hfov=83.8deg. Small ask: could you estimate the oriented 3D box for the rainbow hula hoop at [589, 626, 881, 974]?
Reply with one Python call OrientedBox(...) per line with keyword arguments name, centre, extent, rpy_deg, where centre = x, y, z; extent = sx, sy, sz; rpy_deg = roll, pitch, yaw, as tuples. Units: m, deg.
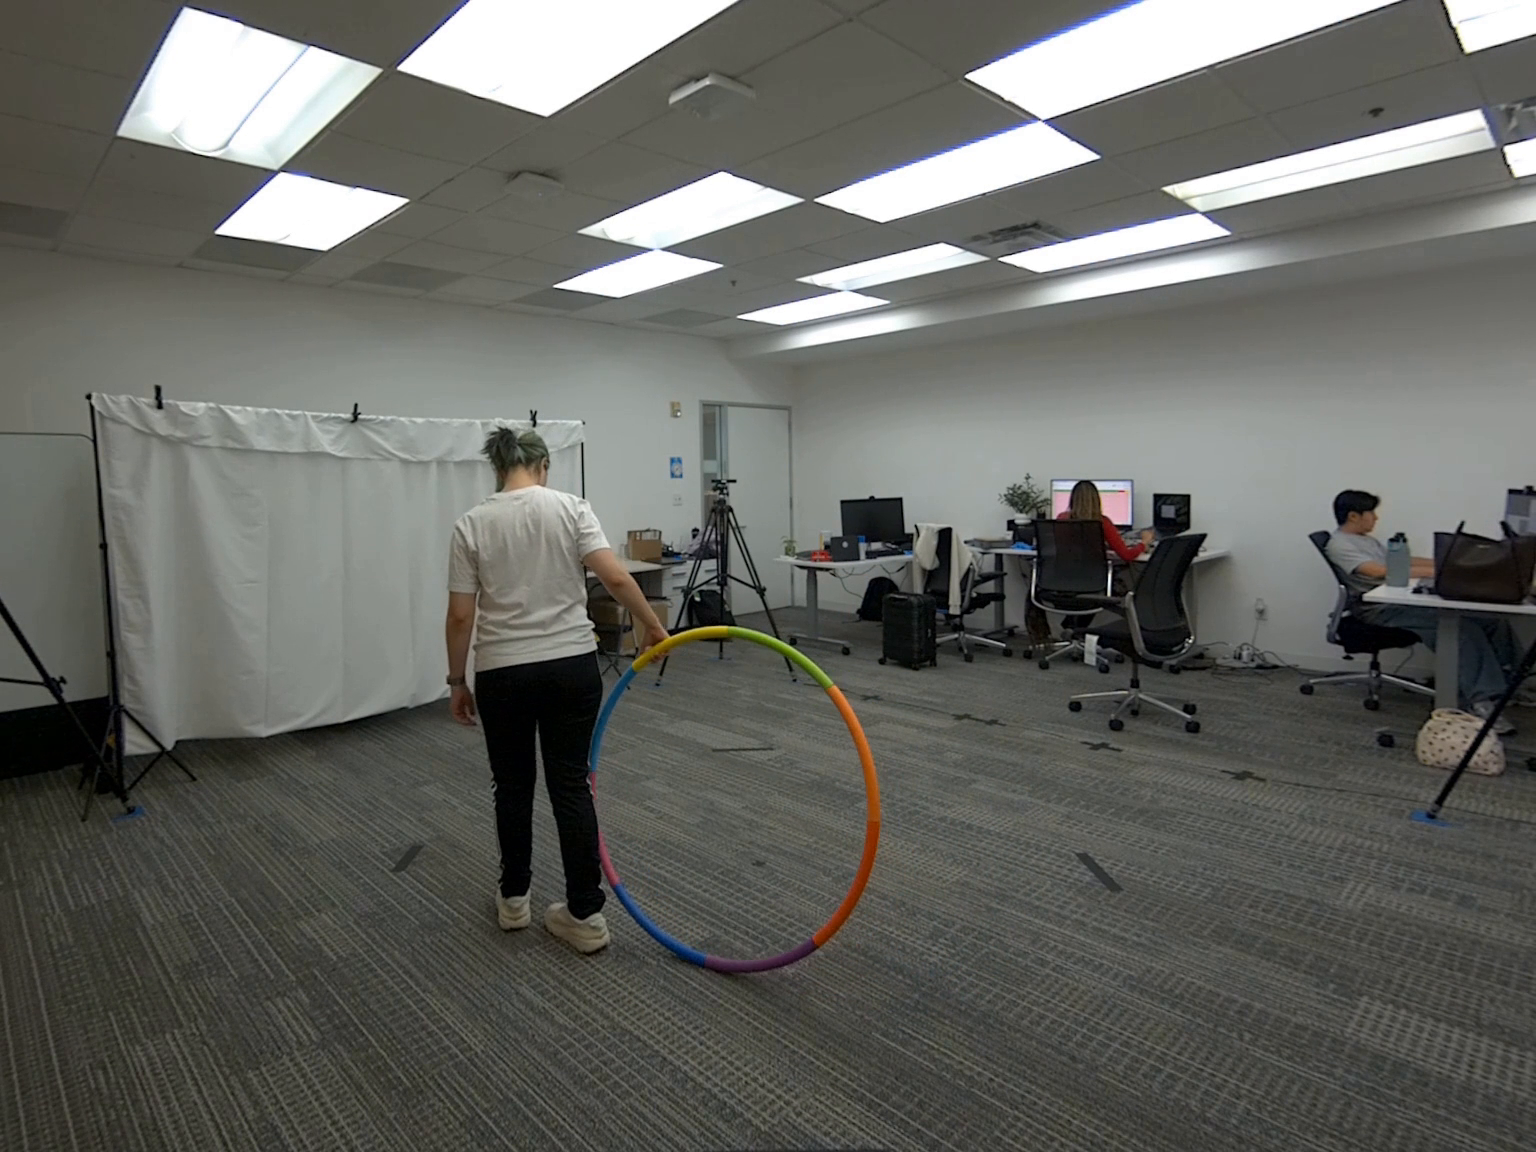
OrientedBox(name="rainbow hula hoop", centre=(-0.143, 0.640, 2.527), extent=(1.004, 0.985, 0.034), rpy_deg=(1, -9, 29))
